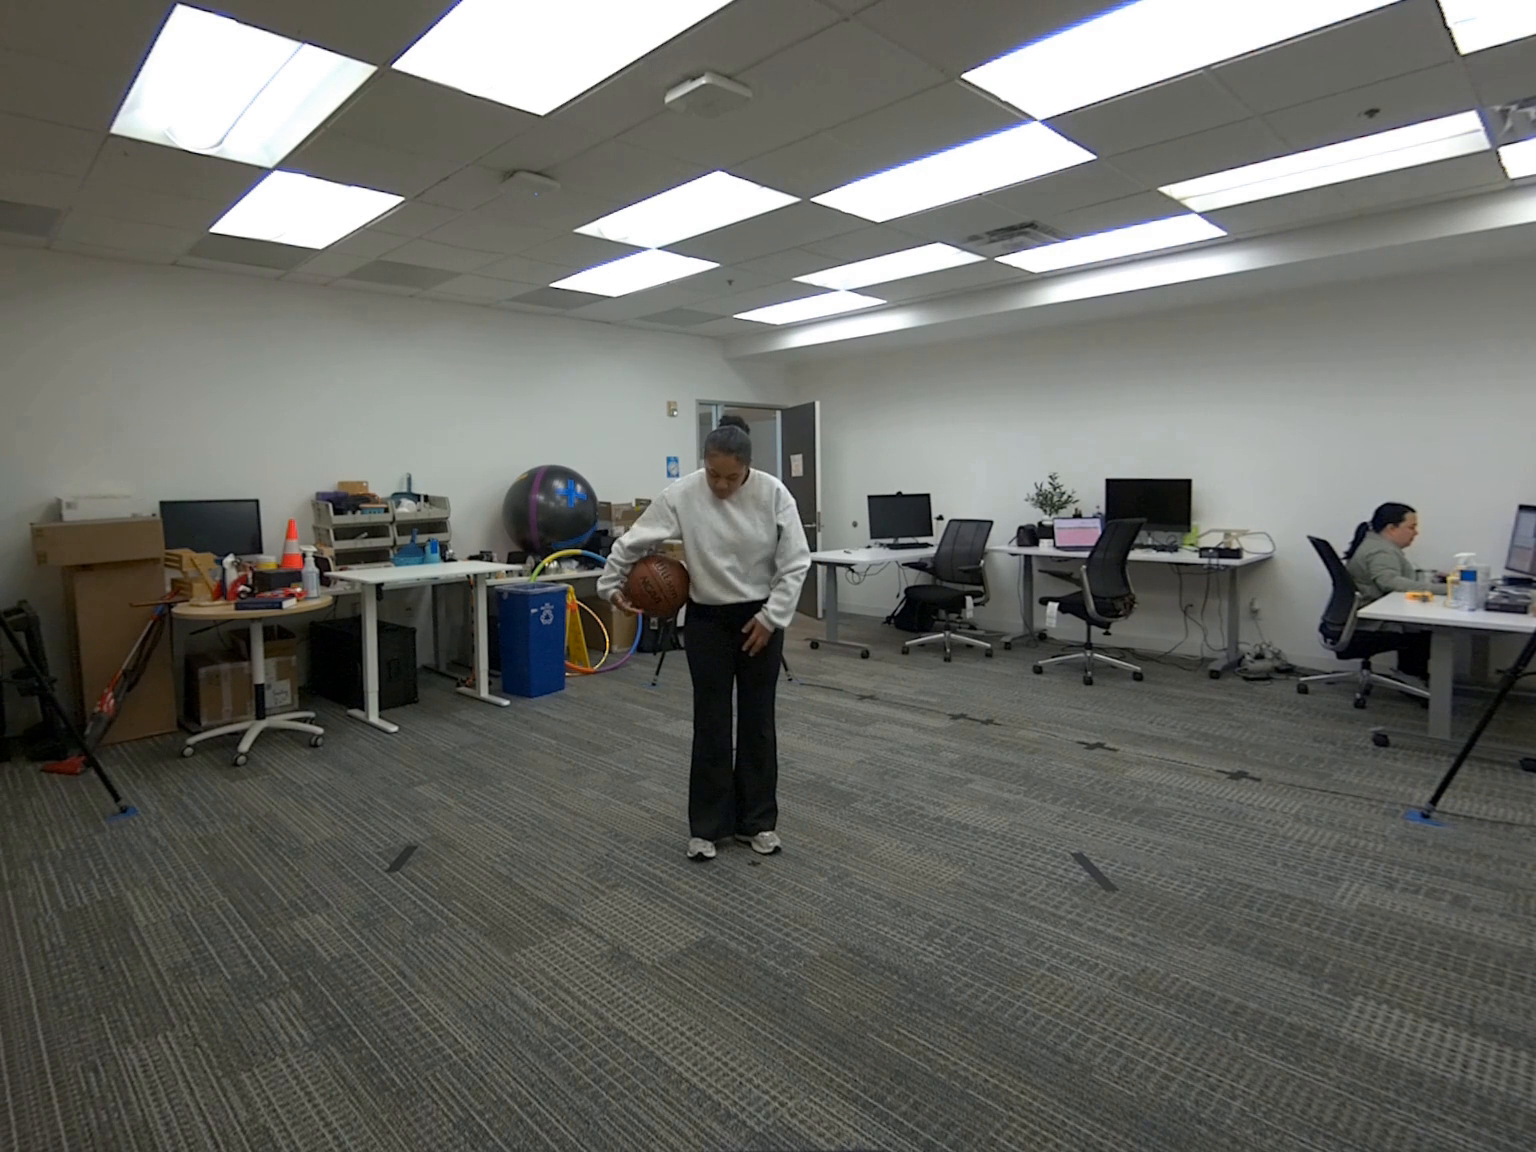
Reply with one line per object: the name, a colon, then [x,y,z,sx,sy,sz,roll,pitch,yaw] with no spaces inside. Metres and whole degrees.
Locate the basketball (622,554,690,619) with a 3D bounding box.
basketball: [-0.398,0.031,3.189,0.236,0.235,0.237,-1,5,-2]
